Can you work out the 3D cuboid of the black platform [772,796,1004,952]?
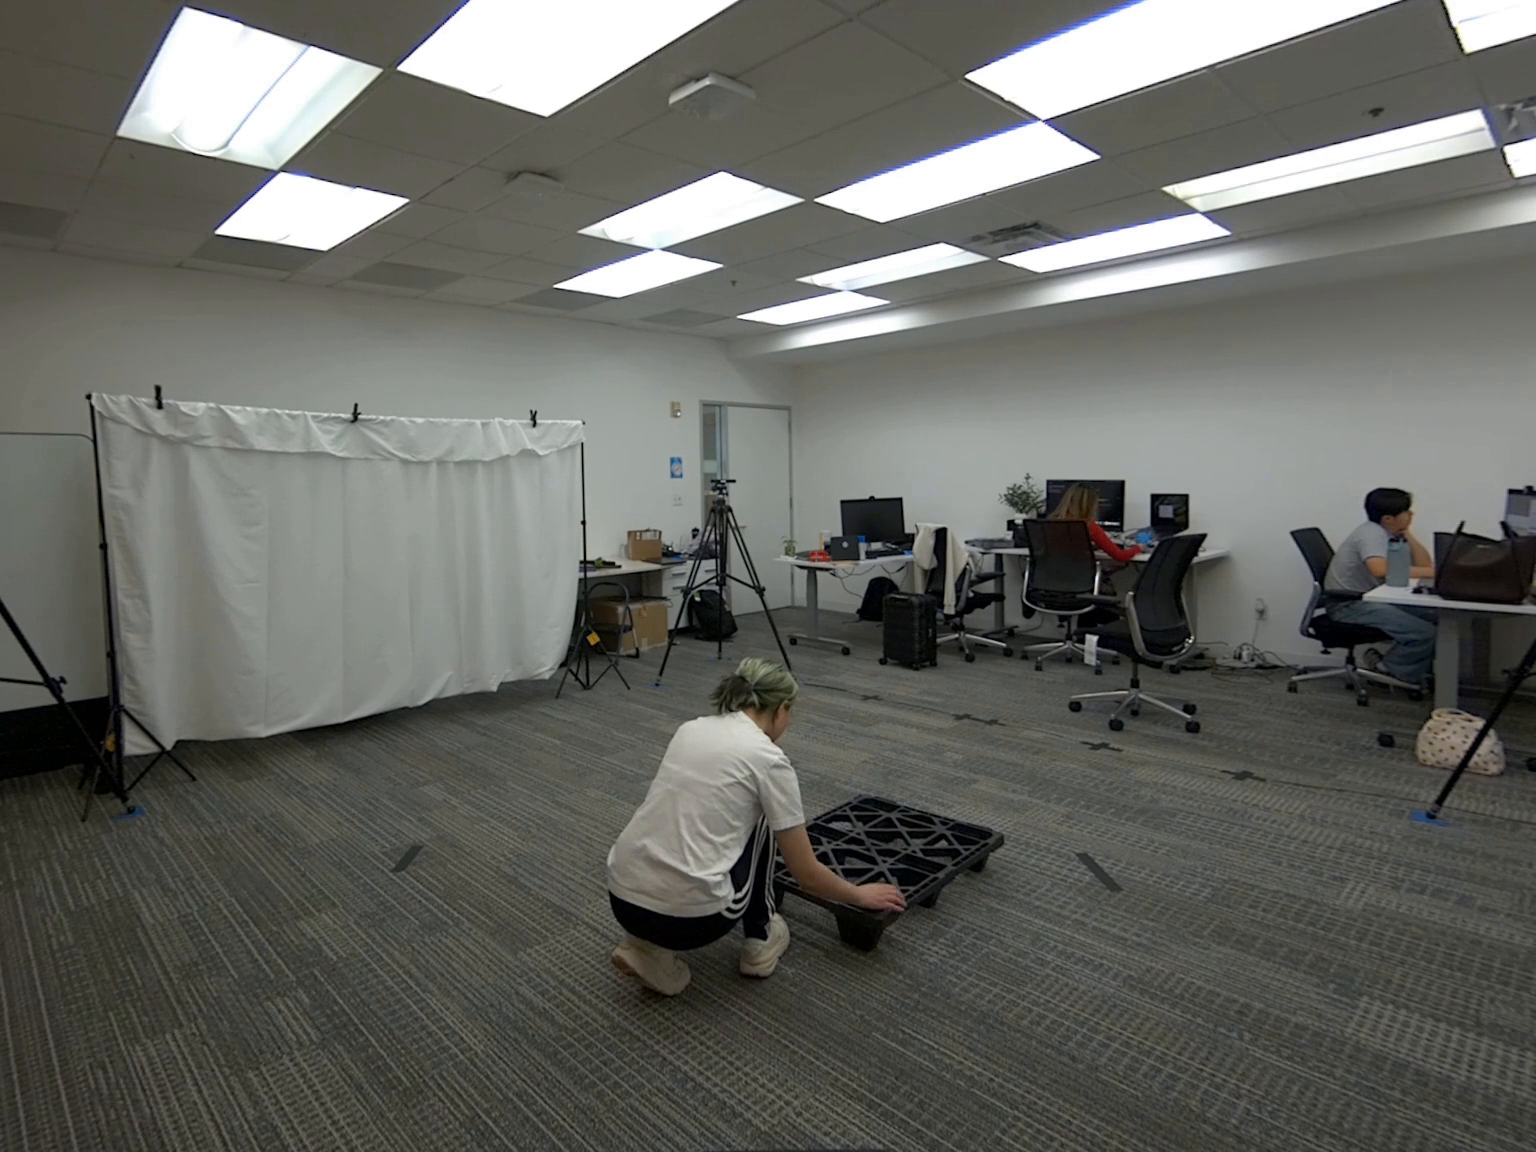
[{"bbox_3d":[0.352,0.992,2.937,0.623,0.143,0.785,4,8,42],"label":"black platform"}]
